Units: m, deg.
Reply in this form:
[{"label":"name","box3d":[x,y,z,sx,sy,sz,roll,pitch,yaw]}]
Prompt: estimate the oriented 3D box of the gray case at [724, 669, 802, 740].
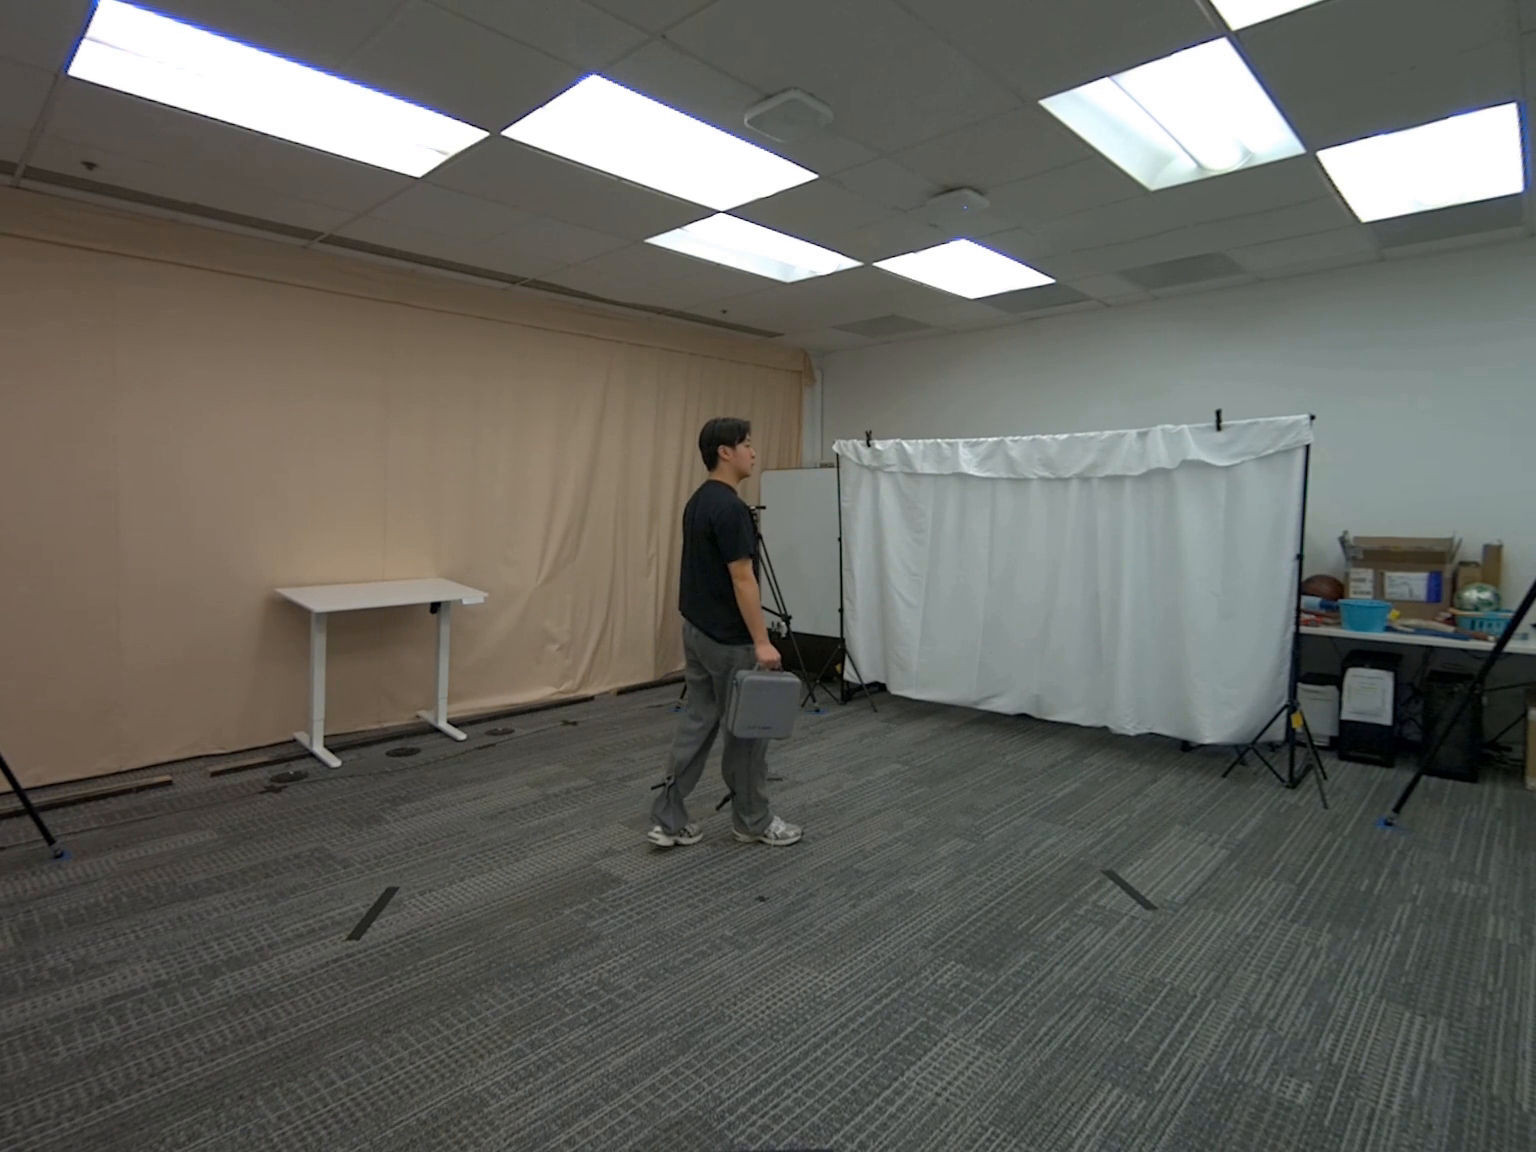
[{"label":"gray case","box3d":[-0.011,0.482,3.238,0.257,0.286,0.106,7,9,-21]}]
